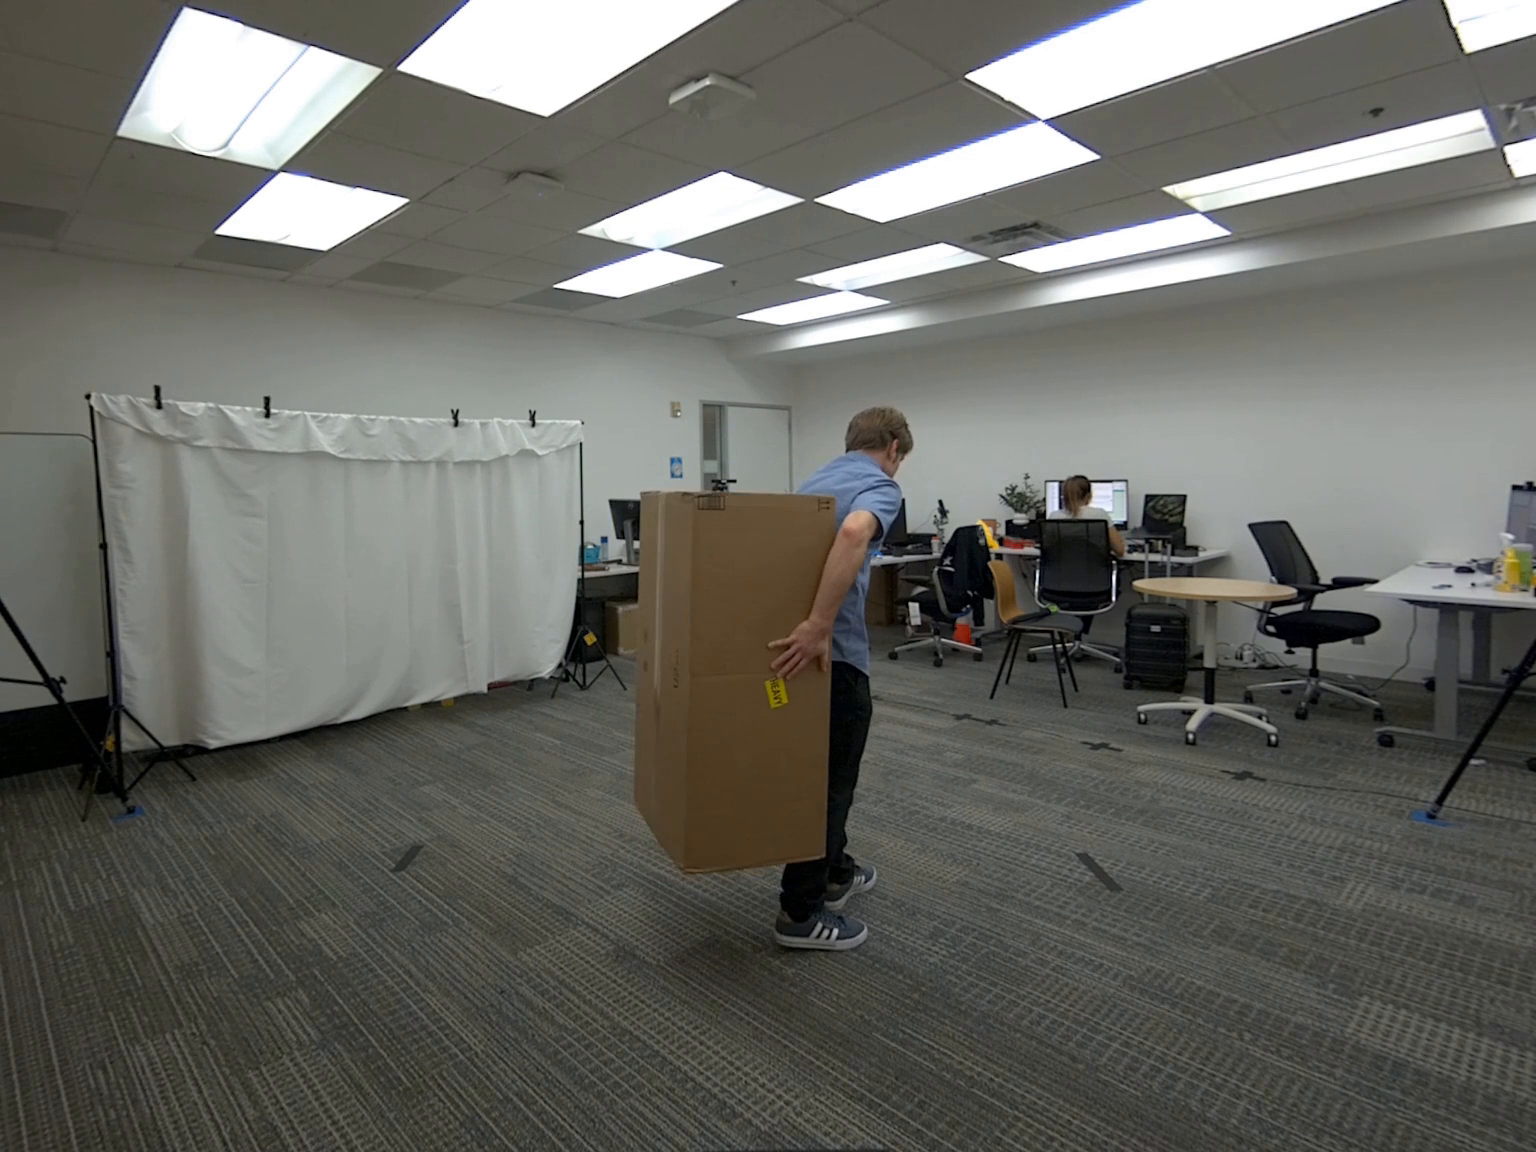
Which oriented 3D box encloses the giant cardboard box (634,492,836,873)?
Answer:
[{"bbox_3d":[-0.125,0.271,2.580,0.438,1.024,0.597,0,3,-22],"label":"giant cardboard box"}]
